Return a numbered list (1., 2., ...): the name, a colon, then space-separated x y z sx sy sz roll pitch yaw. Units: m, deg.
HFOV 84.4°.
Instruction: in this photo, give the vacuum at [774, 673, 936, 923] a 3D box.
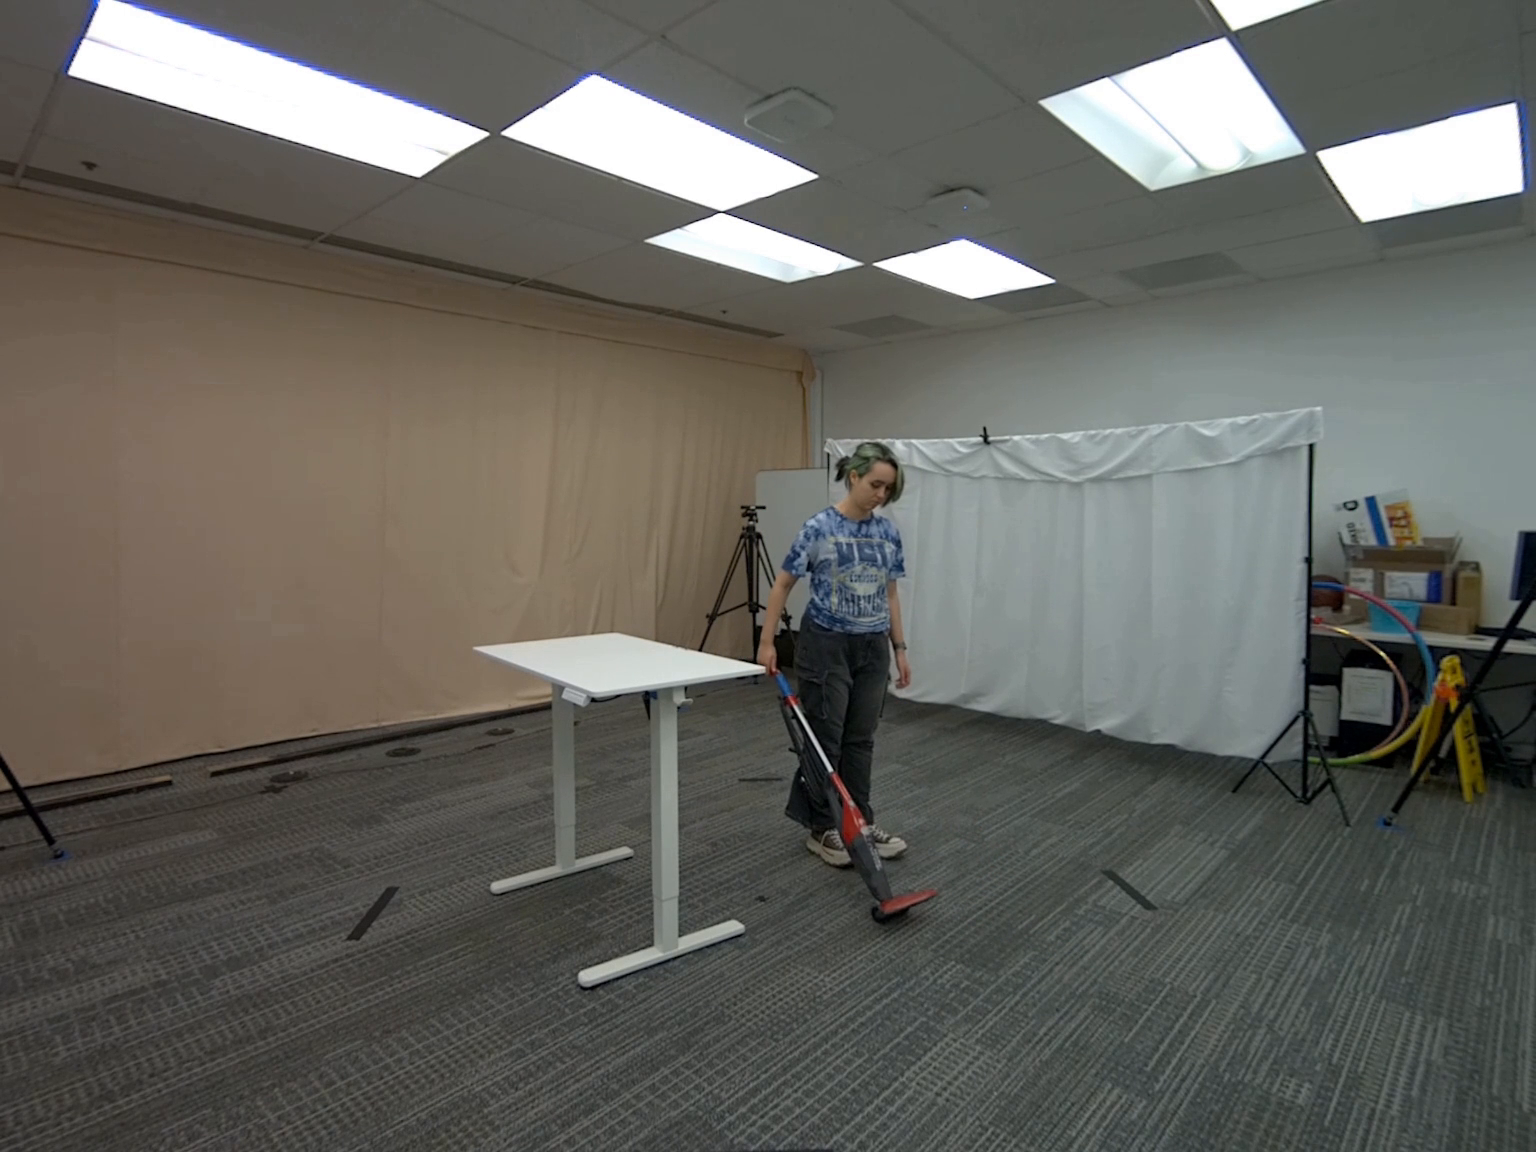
1. vacuum: 0.226 0.747 3.098 0.245 0.143 1.082 -4 46 -34
